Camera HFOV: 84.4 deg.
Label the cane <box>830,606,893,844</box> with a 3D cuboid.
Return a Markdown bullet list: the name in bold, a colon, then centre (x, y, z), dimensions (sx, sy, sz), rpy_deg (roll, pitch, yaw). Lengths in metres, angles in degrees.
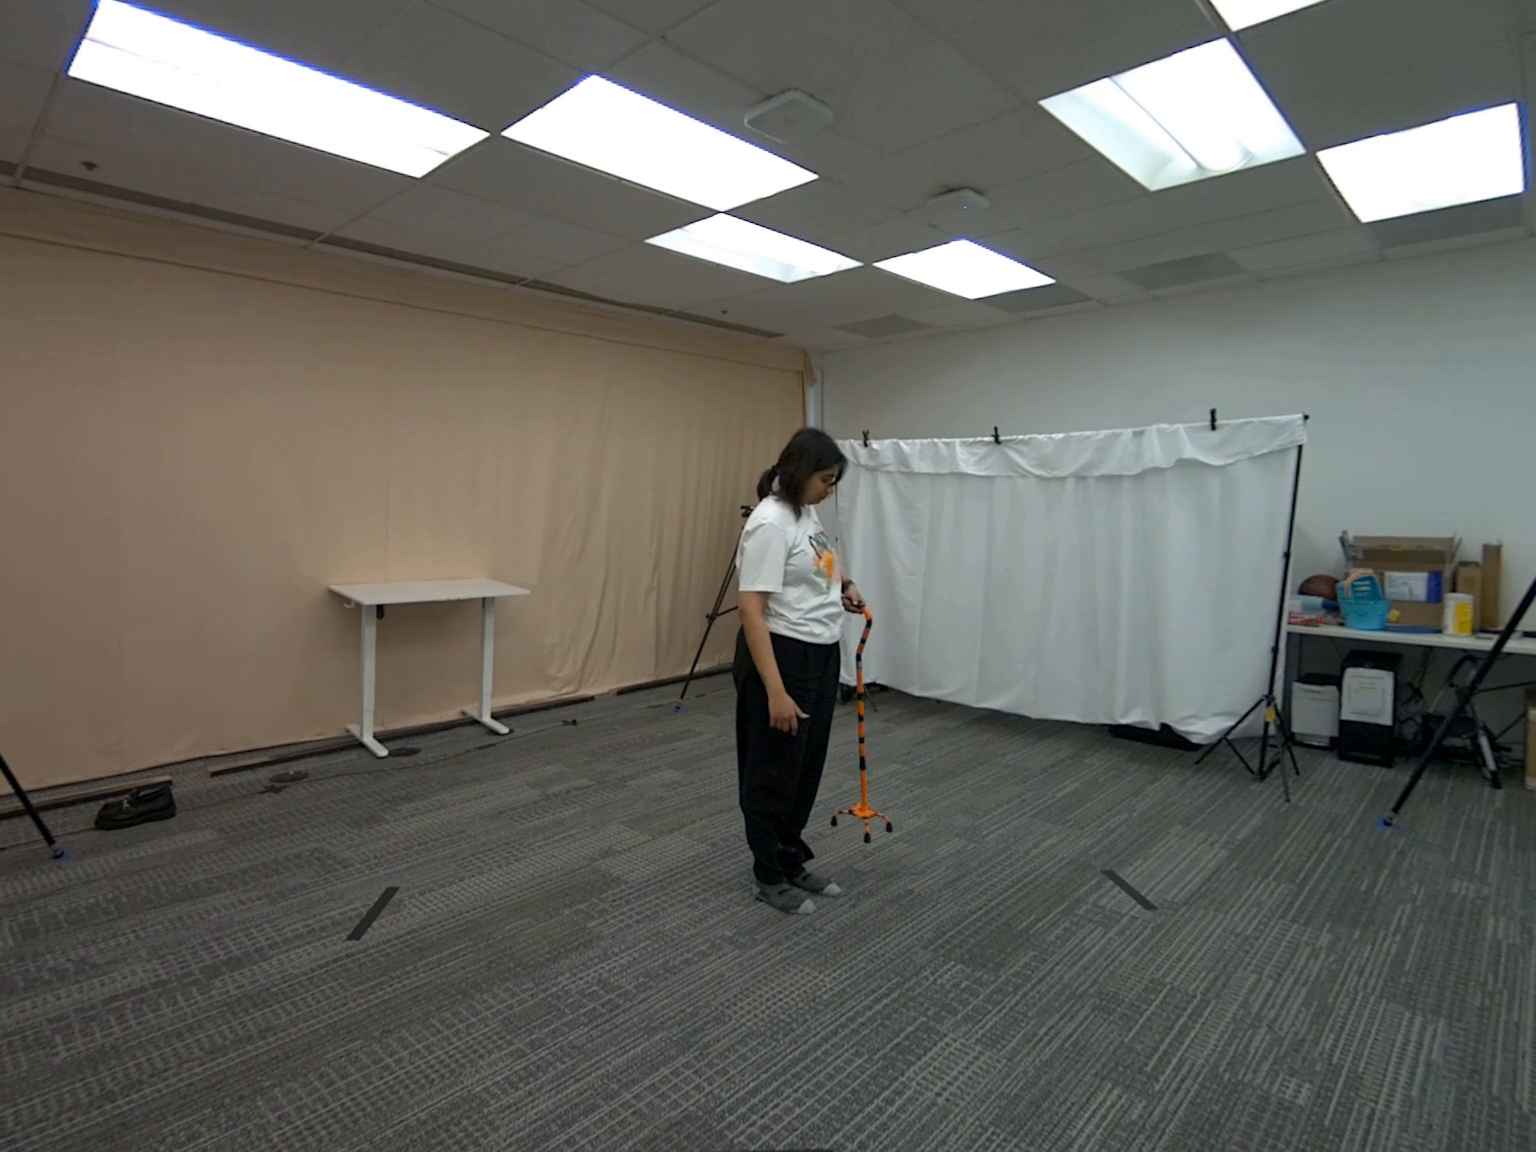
- **cane**: centre (0.346, 0.557, 3.223), dimensions (0.147, 0.902, 0.213), rpy_deg (-9, 11, -38)
